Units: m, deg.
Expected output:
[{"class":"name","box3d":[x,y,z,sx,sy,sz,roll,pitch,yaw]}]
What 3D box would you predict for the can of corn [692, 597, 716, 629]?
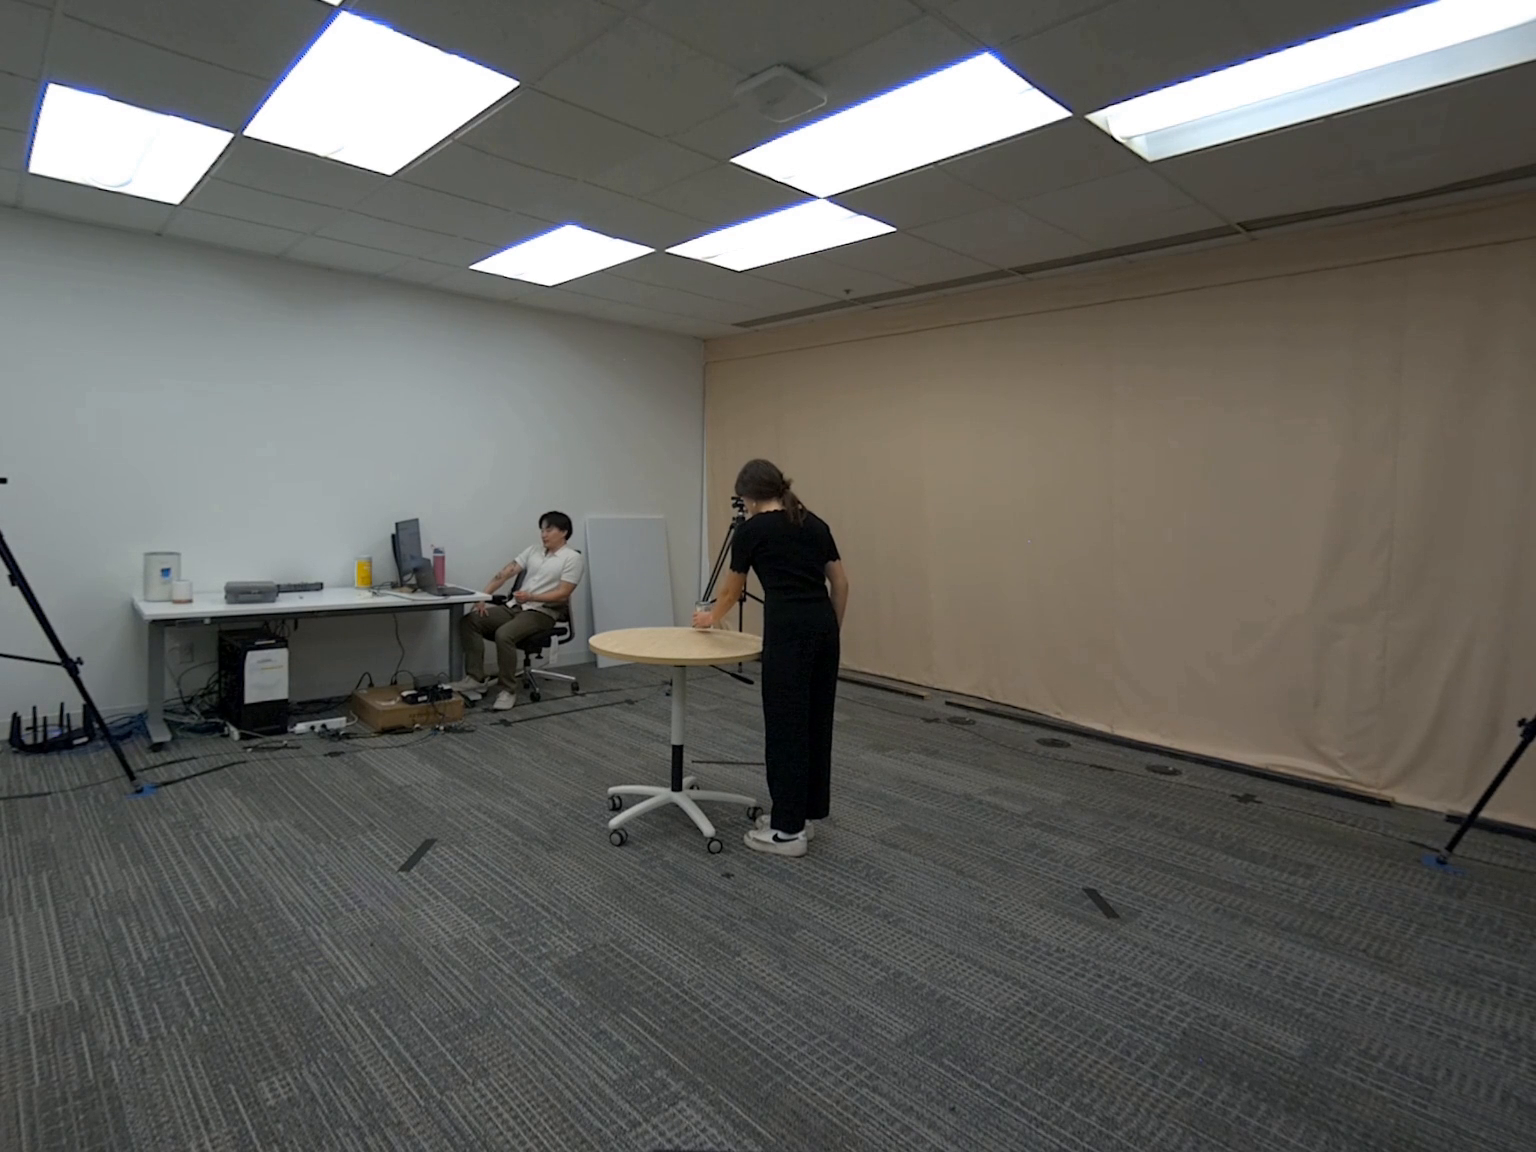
[{"class":"can of corn","box3d":[-0.297,0.175,3.824,0.074,0.111,0.074,1,2,-1]}]
